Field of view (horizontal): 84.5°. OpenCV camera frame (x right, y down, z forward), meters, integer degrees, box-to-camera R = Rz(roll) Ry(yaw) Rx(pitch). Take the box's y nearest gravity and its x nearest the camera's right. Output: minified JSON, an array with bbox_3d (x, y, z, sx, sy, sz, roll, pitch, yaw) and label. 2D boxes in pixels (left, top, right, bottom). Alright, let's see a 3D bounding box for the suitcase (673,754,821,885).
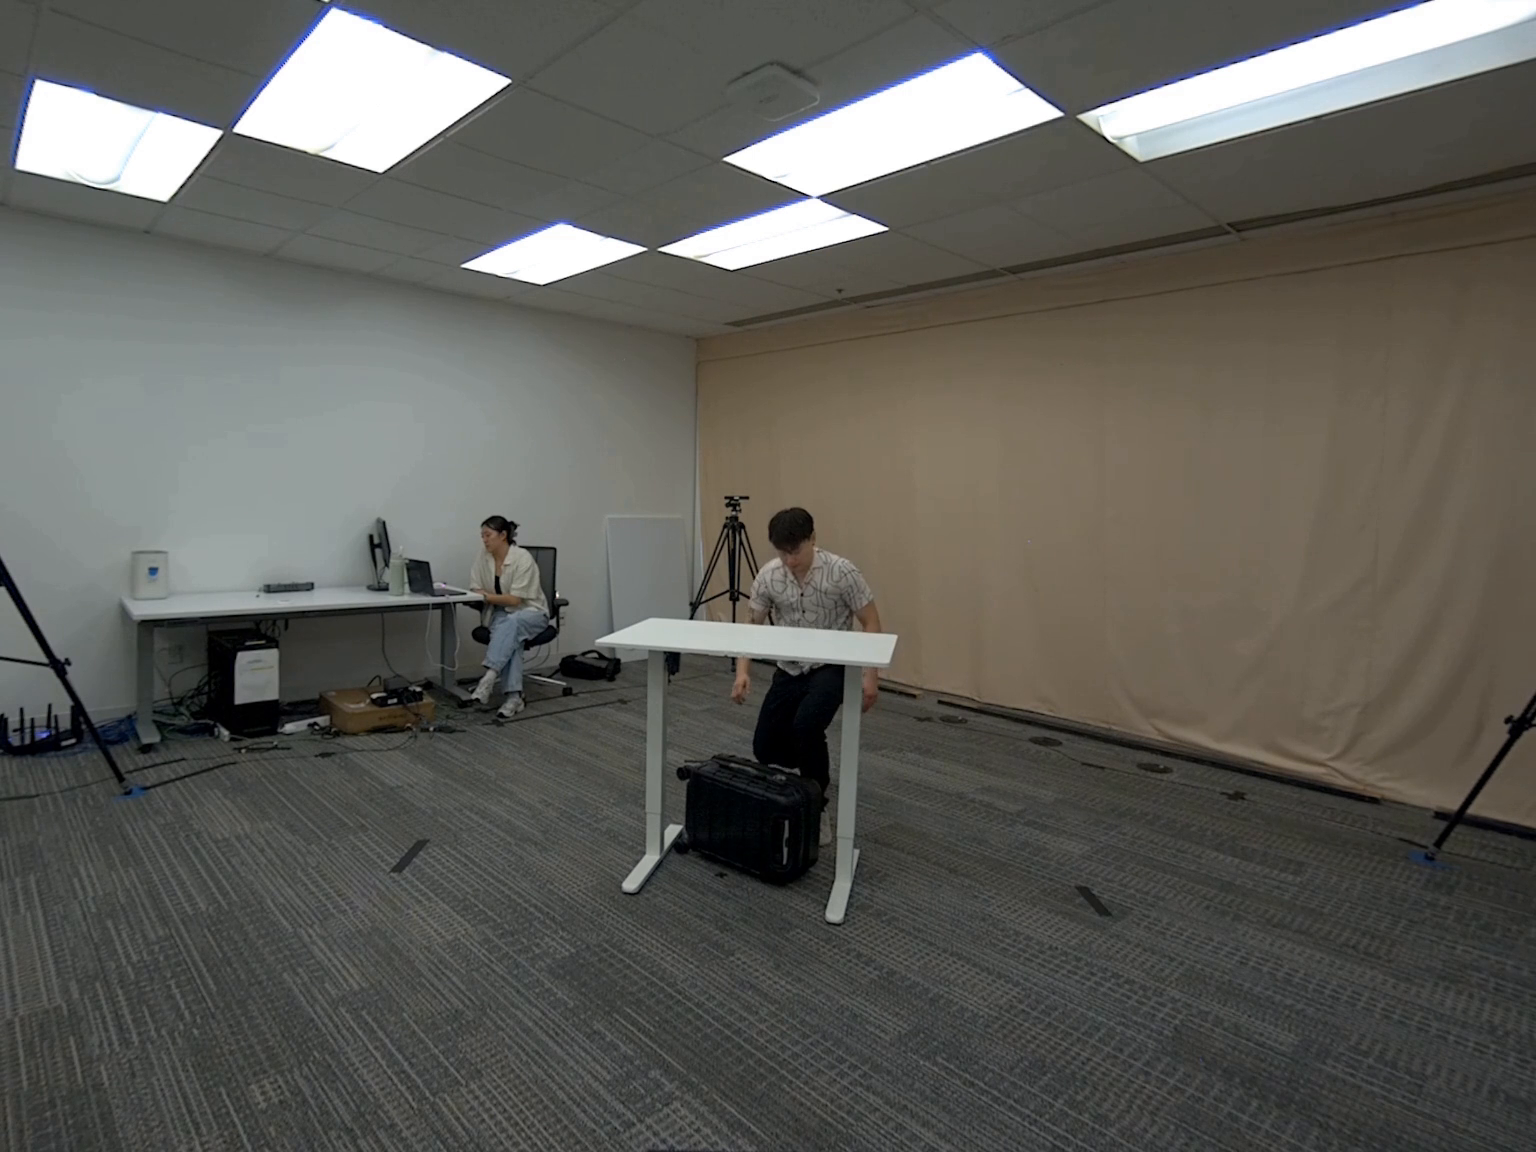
[{"bbox_3d":[-0.075,0.899,3.196,0.563,0.374,0.243,4,4,39],"label":"suitcase"}]
